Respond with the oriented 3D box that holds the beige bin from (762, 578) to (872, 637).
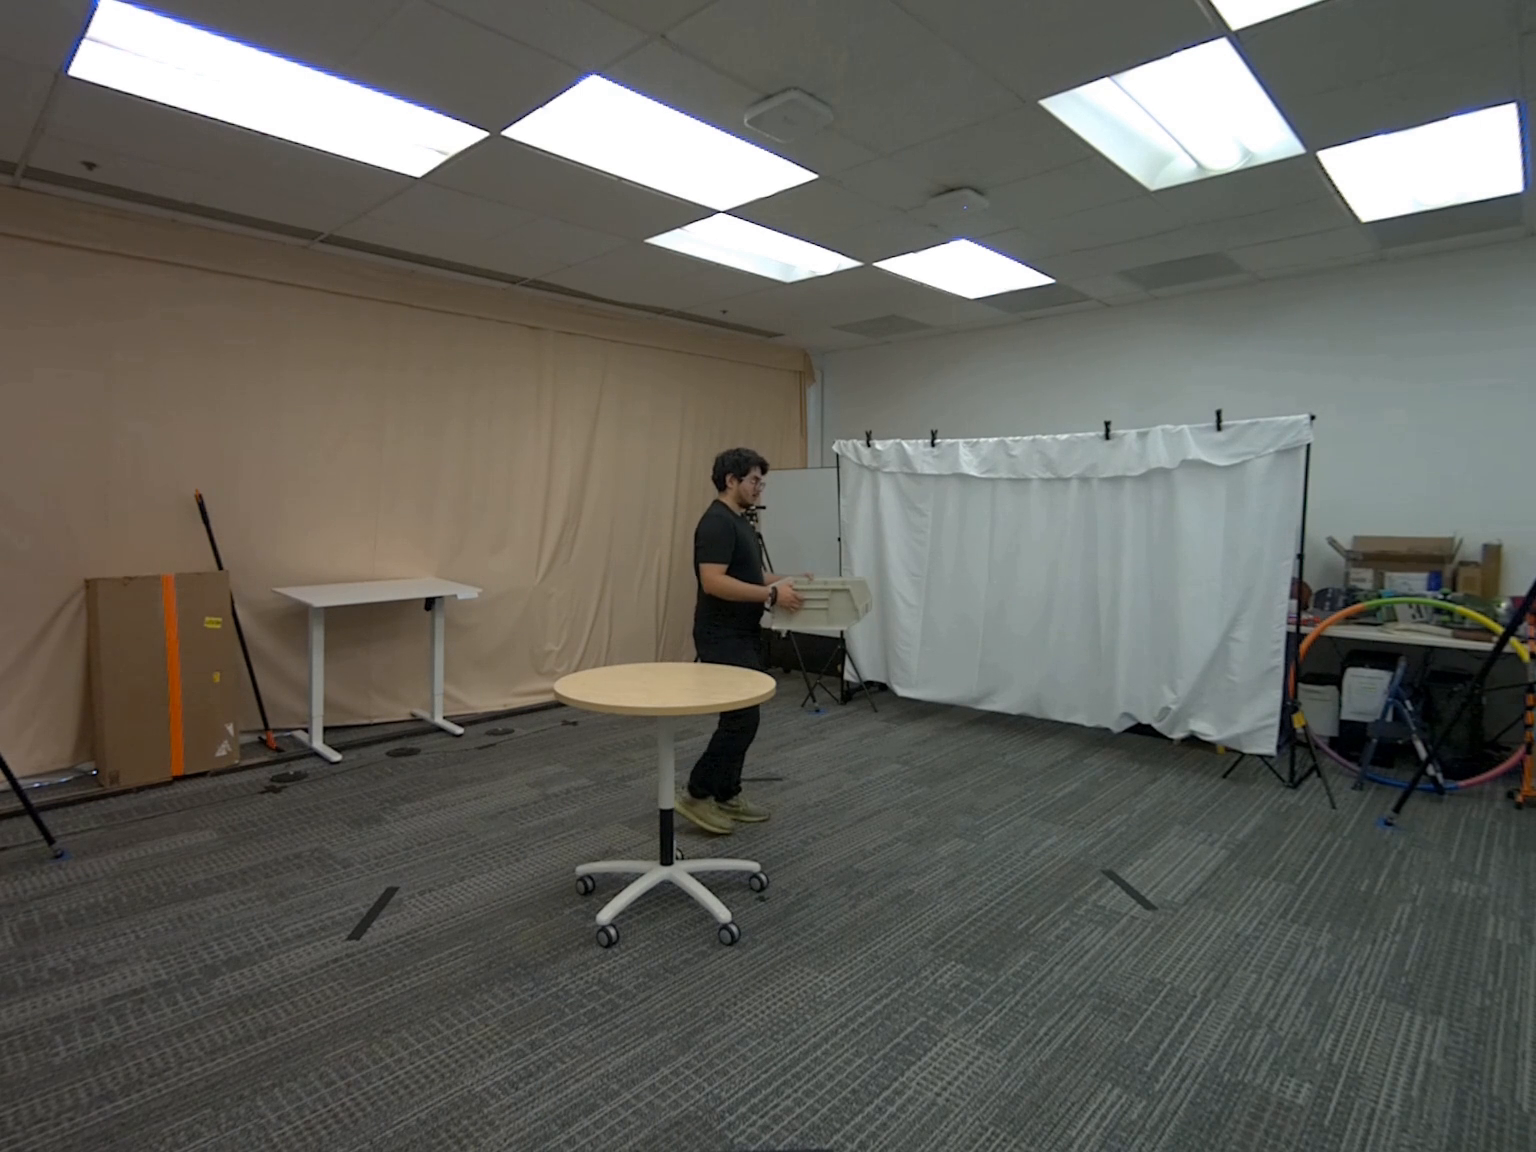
[{"bbox_3d":[0.239,0.117,3.599,0.384,0.188,0.416,-1,5,16],"label":"beige bin"}]
